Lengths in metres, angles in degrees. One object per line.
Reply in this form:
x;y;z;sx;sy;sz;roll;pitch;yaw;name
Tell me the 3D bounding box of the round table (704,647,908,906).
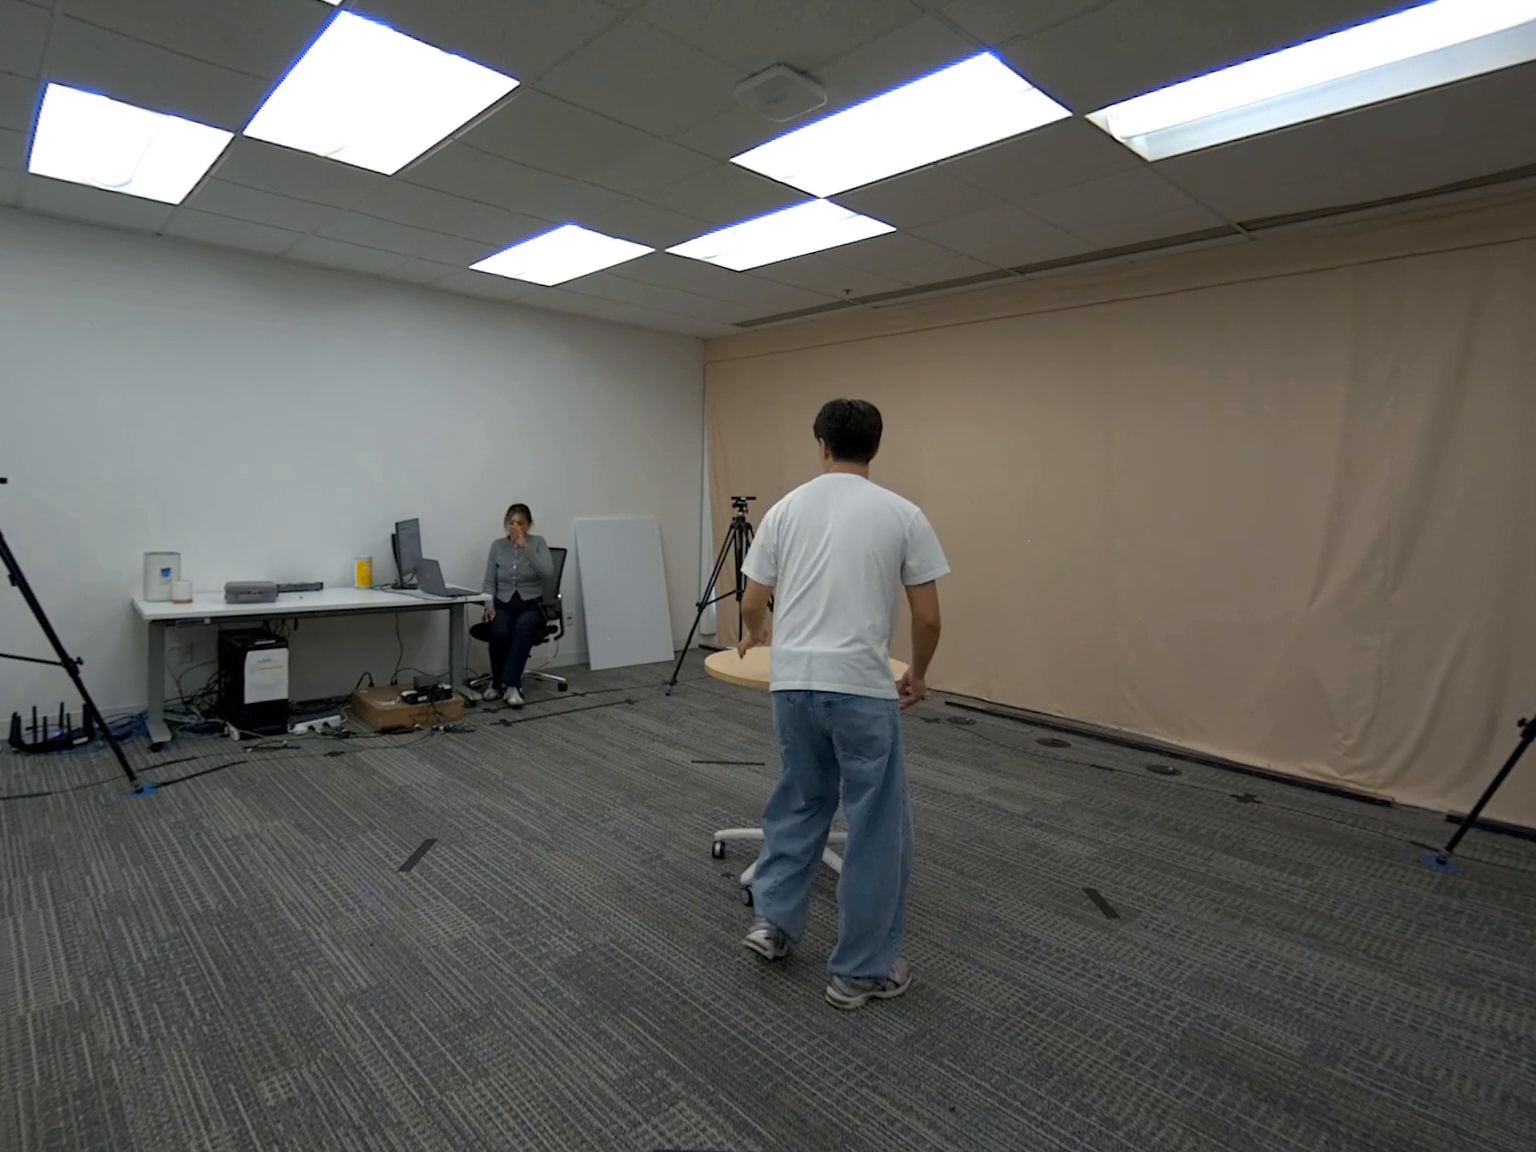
0.145;0.719;3.138;0.784;0.784;0.787;1;4;-1;round table
